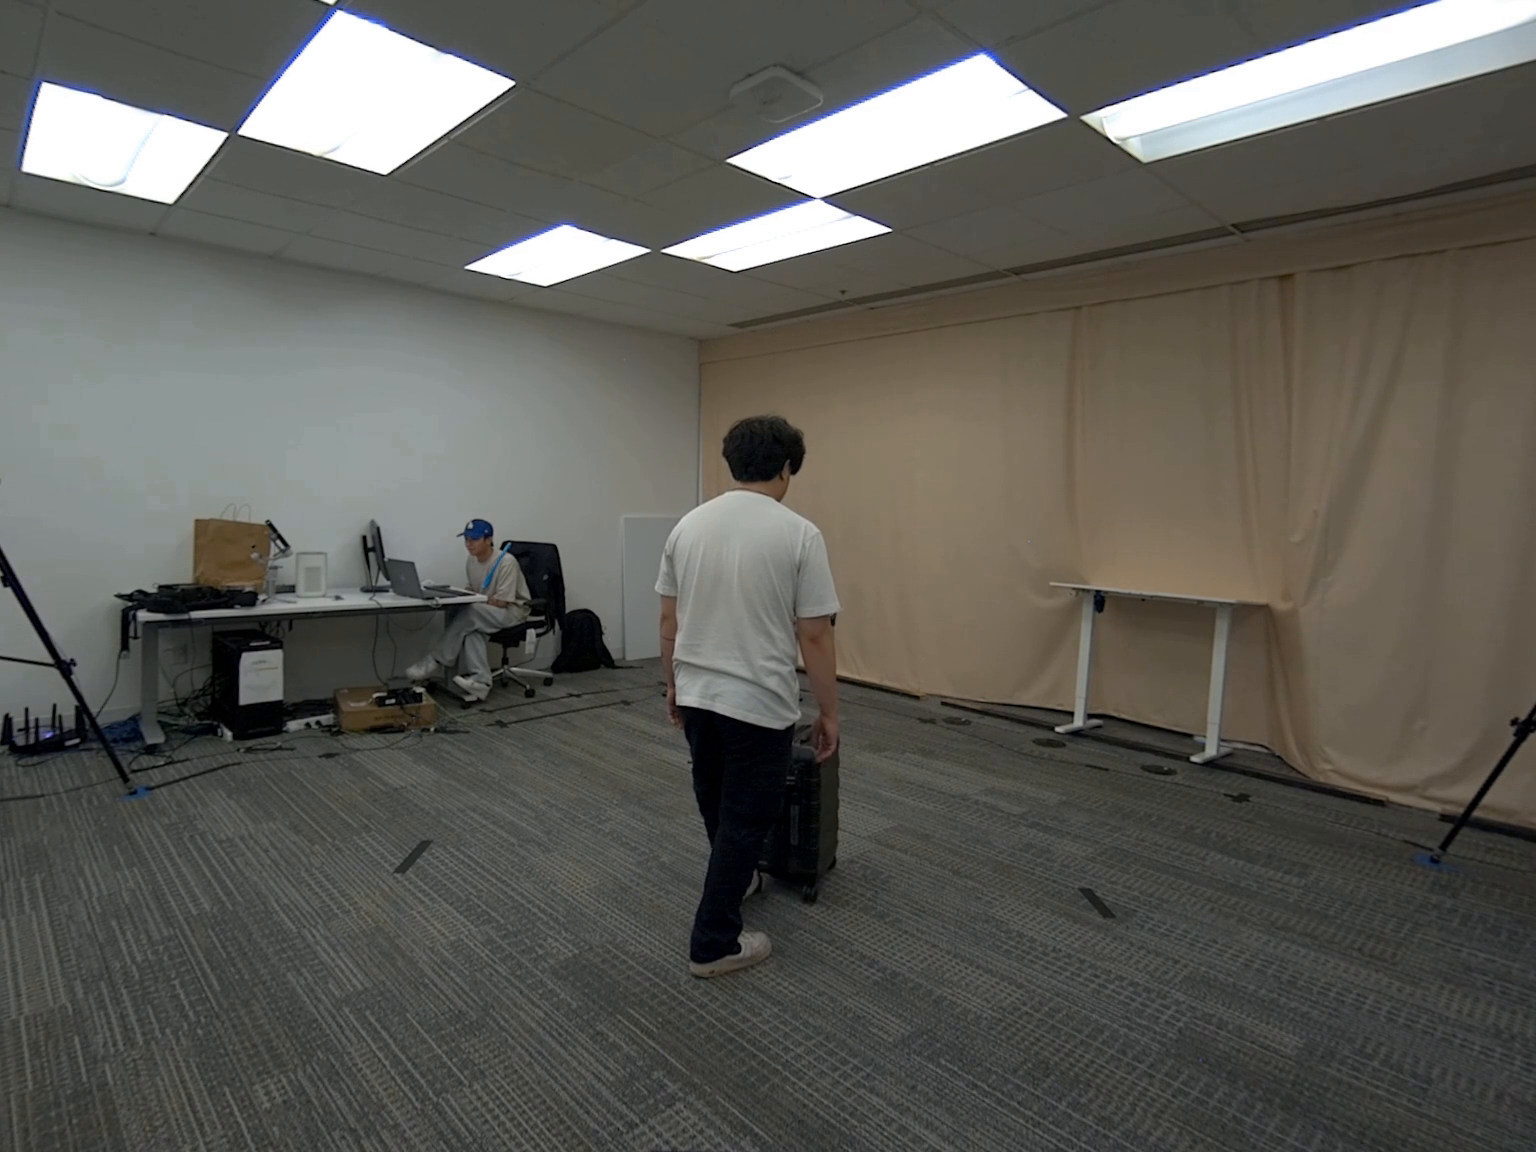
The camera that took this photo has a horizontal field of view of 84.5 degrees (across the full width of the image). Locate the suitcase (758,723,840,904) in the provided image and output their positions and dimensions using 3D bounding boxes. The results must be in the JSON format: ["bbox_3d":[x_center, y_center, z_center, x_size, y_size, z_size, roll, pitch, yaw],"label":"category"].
[{"bbox_3d":[0.100,0.639,3.089,0.261,0.978,0.378,0,1,19],"label":"suitcase"}]
